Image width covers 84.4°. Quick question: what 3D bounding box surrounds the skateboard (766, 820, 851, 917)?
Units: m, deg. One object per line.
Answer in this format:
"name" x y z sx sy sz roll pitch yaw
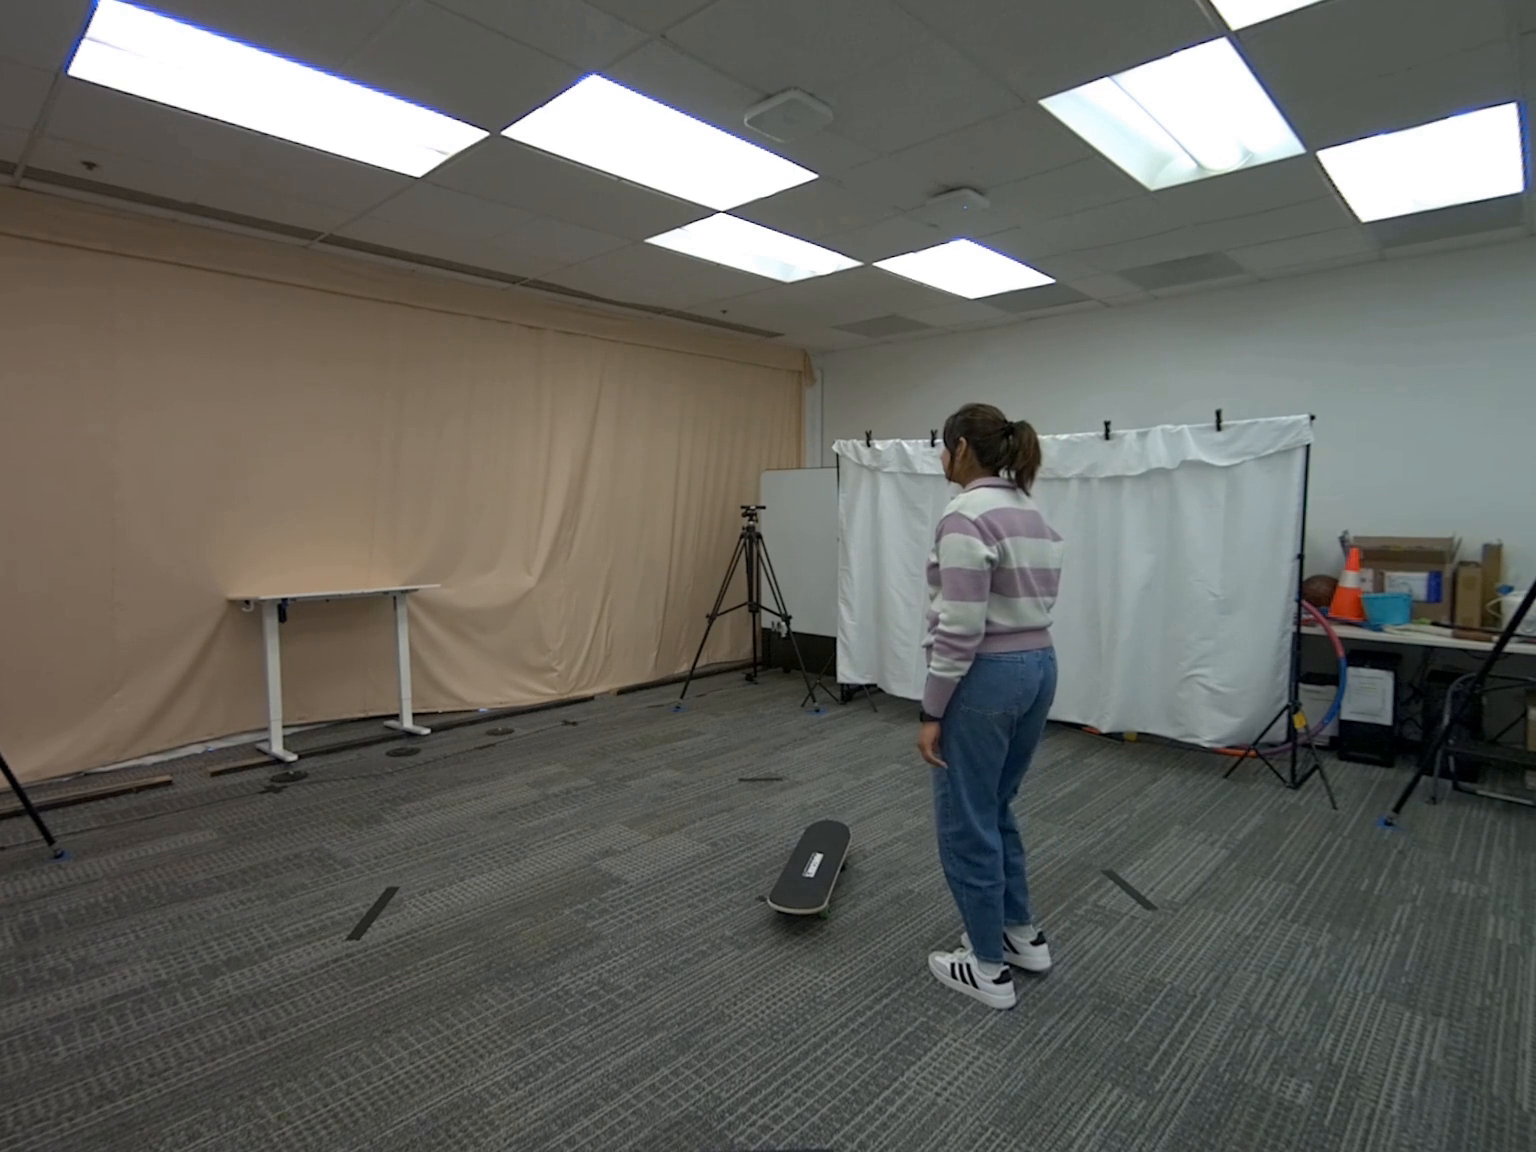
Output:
"skateboard" 0.169 1.079 3.054 0.197 0.110 0.774 1 5 14
